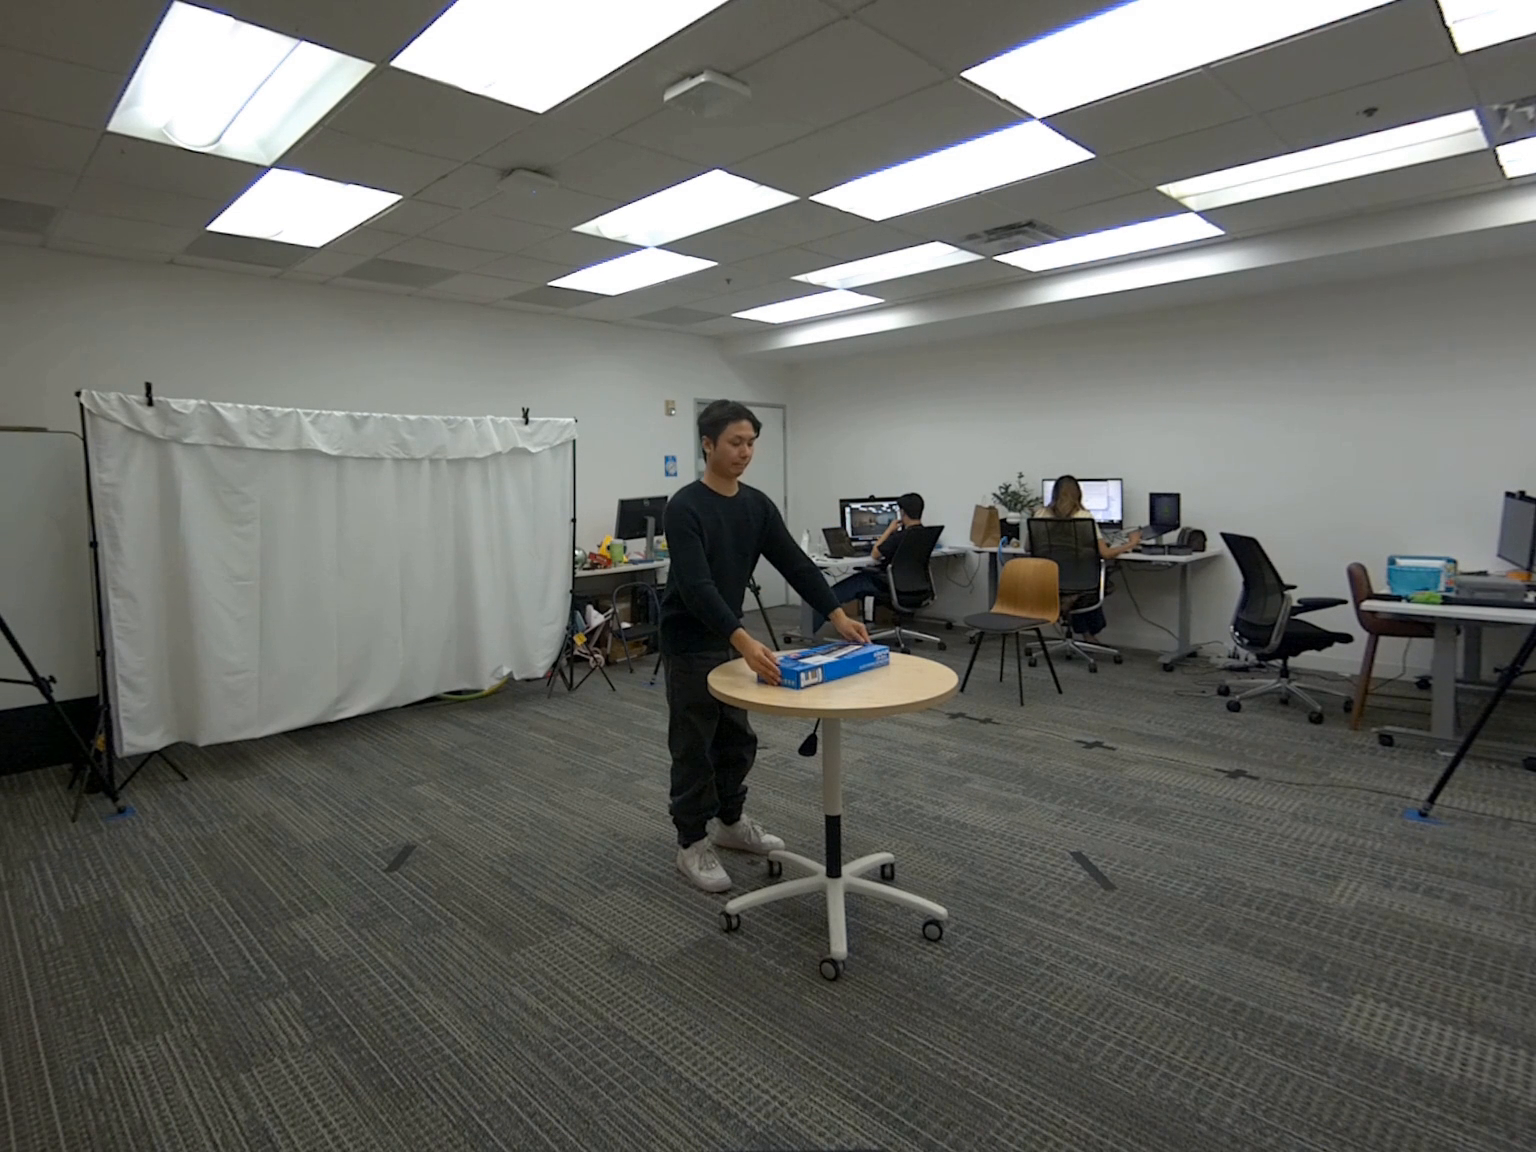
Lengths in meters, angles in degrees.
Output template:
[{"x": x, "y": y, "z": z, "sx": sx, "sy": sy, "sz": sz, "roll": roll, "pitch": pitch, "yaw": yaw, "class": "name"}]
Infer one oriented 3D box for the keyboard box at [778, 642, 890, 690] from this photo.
[{"x": 0.179, "y": 0.273, "z": 2.689, "sx": 0.181, "sy": 0.059, "sz": 0.426, "roll": 6, "pitch": 10, "yaw": 44, "class": "keyboard box"}]
